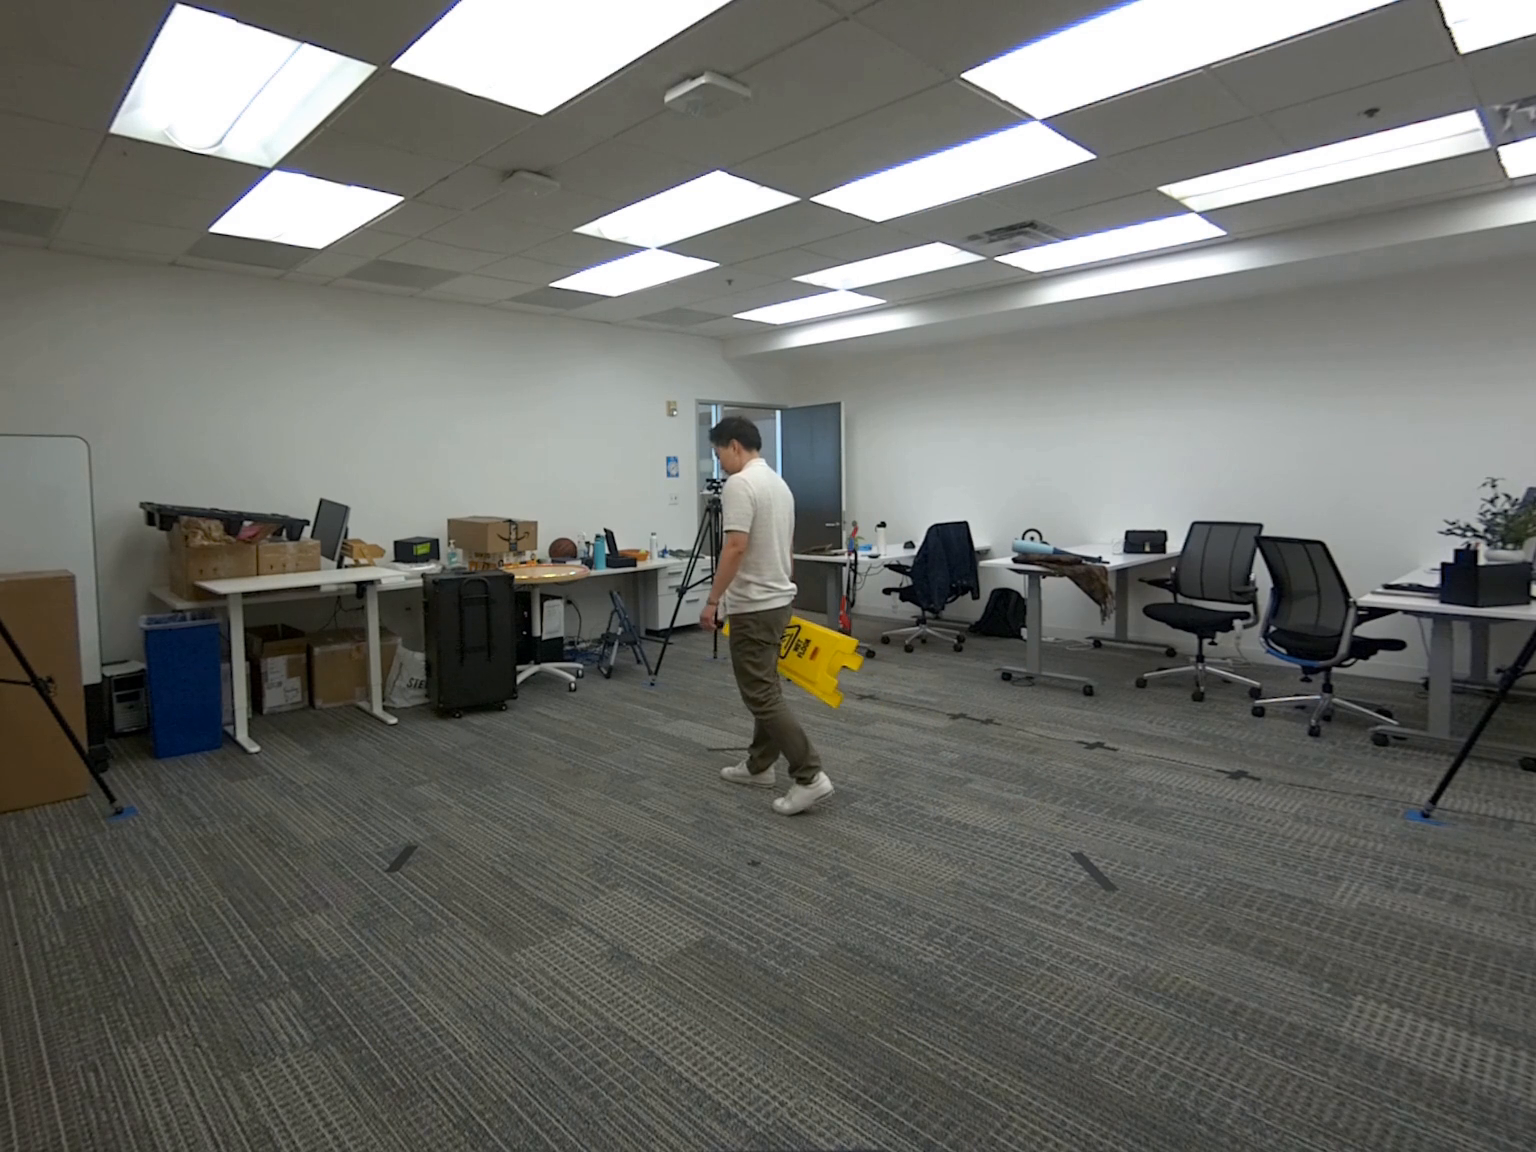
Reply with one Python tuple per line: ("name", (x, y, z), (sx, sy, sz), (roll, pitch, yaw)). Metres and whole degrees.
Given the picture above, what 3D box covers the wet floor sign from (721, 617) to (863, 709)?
("wet floor sign", (0.094, 0.329, 4.068), (0.663, 0.283, 0.281), (26, -13, 21))
